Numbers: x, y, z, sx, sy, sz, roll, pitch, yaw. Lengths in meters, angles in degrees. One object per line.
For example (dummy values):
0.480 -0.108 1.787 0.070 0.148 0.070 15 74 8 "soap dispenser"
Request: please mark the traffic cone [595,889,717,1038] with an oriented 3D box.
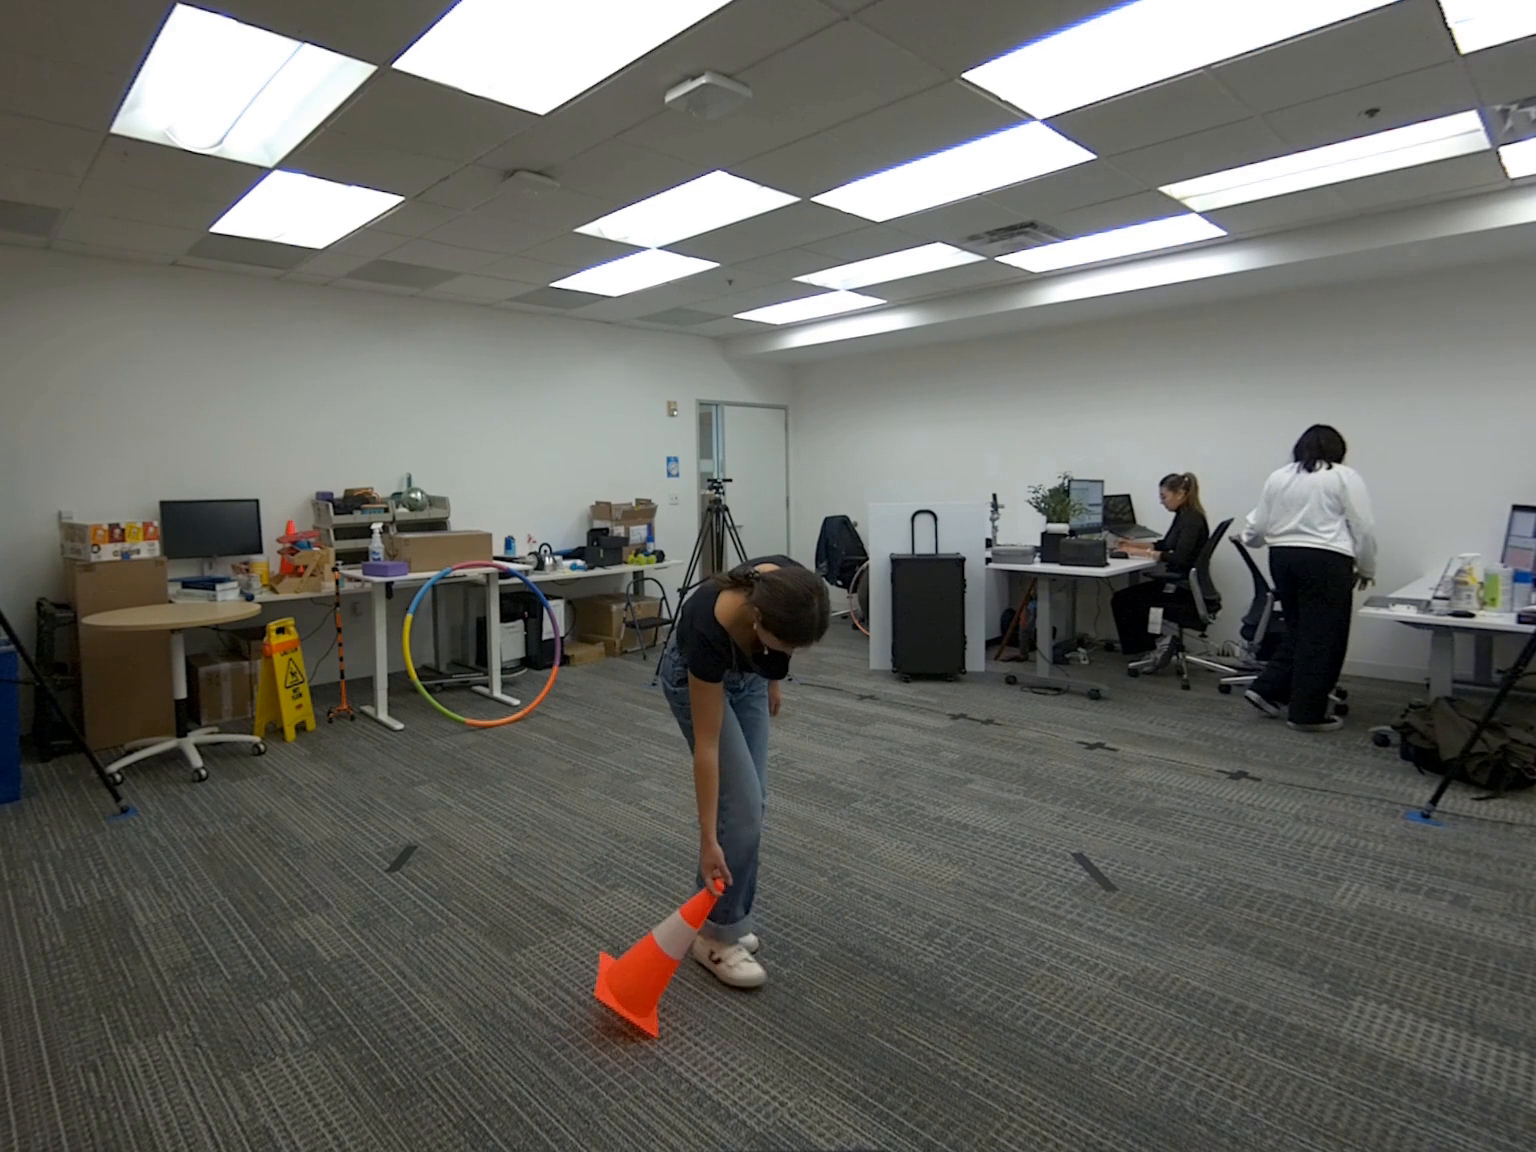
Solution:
-0.252 0.953 2.227 0.204 0.383 0.205 38 3 -5 "traffic cone"
